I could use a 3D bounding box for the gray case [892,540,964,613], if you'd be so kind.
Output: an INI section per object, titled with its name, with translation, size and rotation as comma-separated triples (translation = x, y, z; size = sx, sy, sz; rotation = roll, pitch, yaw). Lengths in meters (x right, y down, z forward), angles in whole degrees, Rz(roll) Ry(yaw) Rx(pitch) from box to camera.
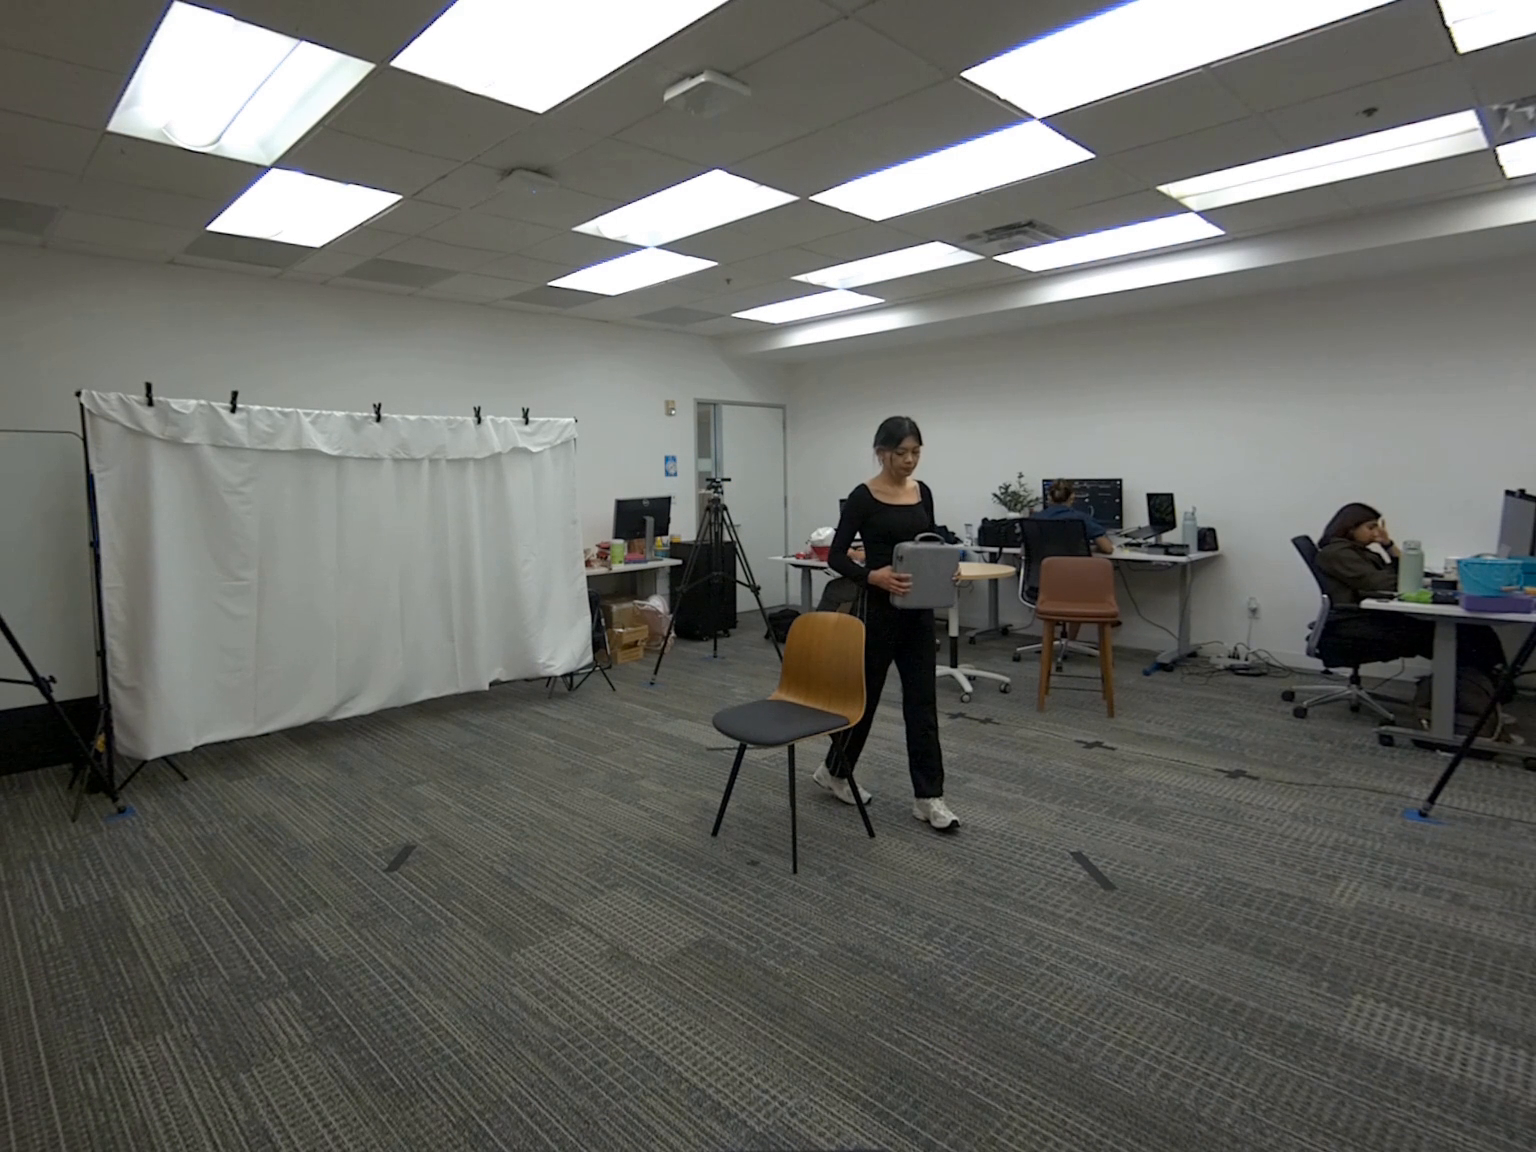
[gray case]
translation = 0.602, -0.002, 3.306
size = 0.252, 0.259, 0.107
rotation = 0, 9, -20
